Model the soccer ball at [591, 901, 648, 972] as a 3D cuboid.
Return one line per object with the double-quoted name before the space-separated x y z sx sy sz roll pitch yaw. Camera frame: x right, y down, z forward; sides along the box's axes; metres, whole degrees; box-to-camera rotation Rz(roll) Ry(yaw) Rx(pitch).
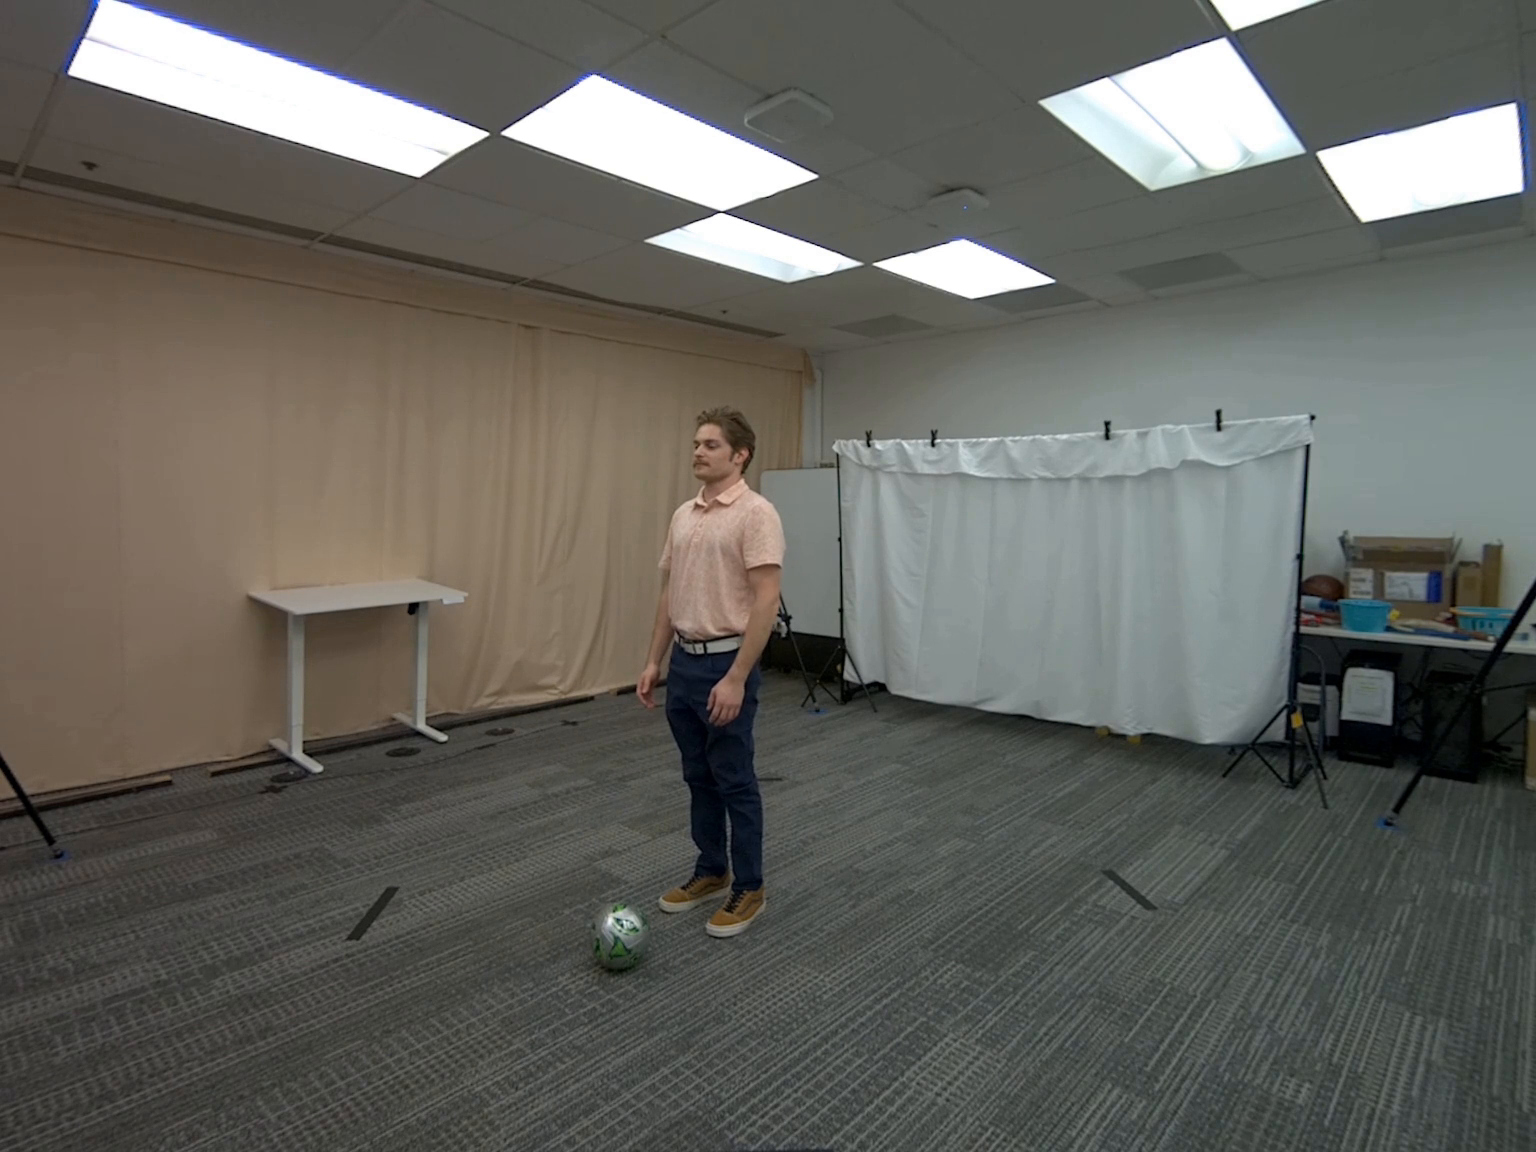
"soccer ball" -0.446 1.097 2.553 0.187 0.187 0.188 0 4 -2
